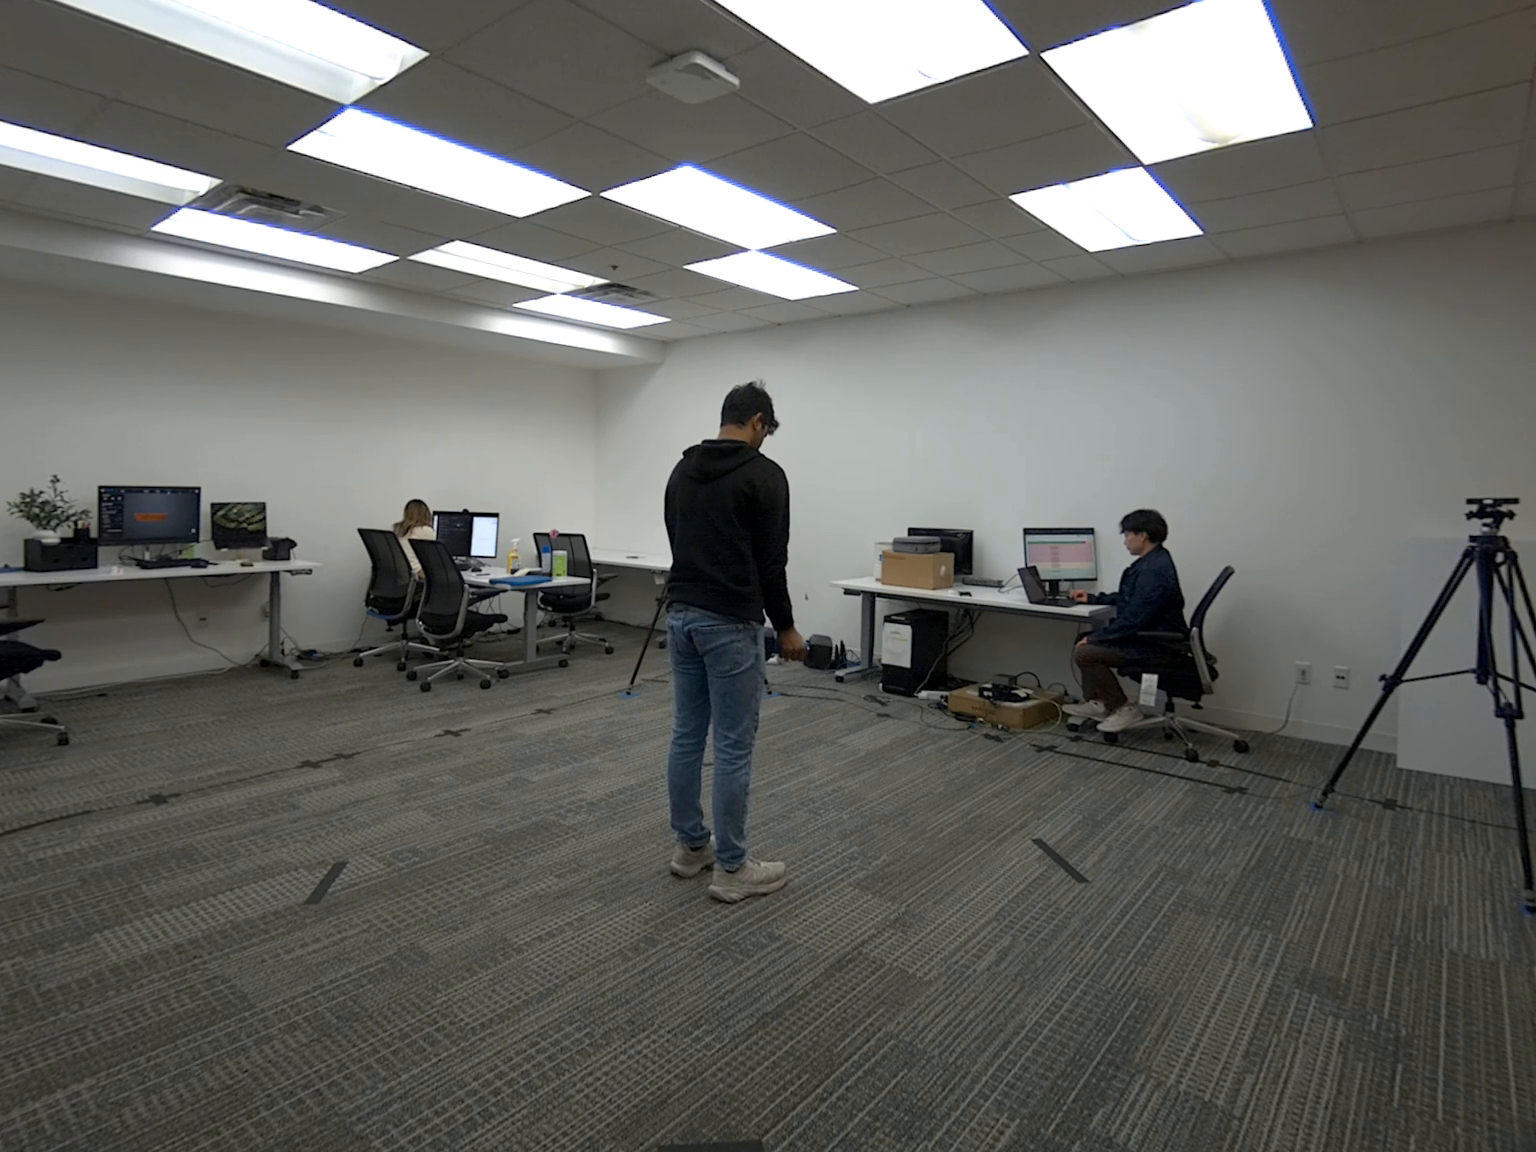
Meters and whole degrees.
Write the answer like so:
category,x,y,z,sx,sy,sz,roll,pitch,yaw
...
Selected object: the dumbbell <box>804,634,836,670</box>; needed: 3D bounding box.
category,x,y,z,sx,sy,sz,roll,pitch,yaw
dumbbell,0.072,0.259,3.042,0.292,0.123,0.109,7,-2,-4
